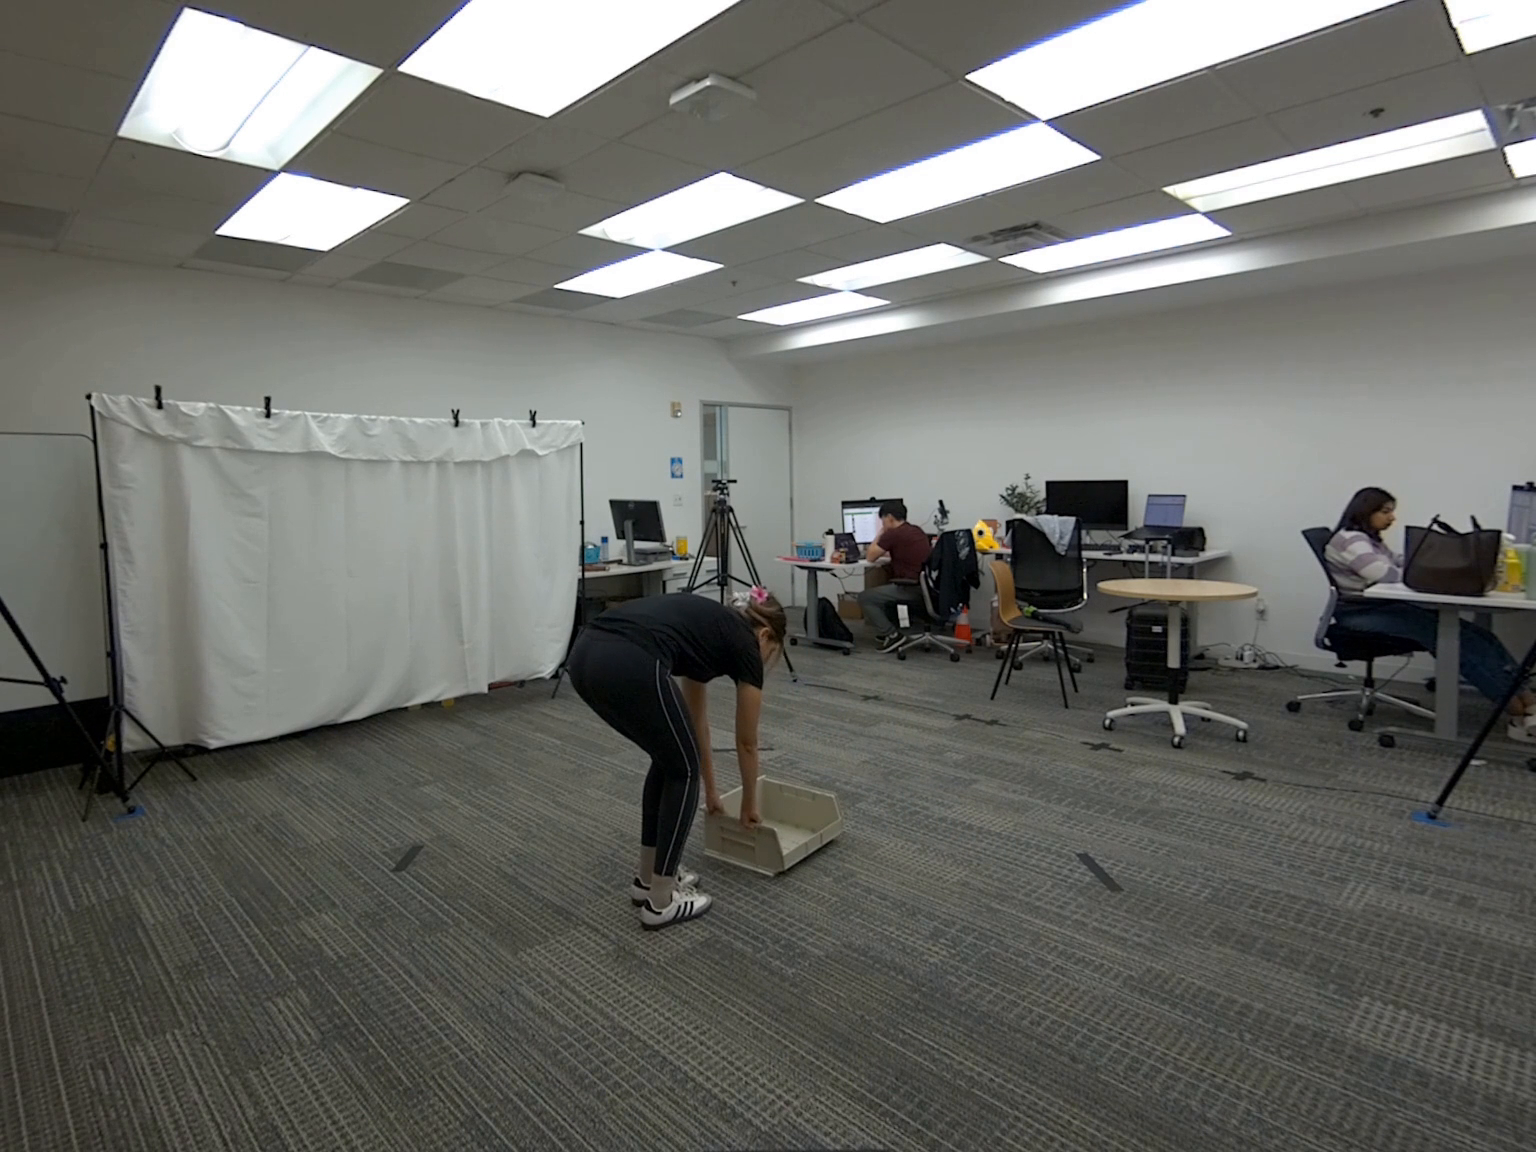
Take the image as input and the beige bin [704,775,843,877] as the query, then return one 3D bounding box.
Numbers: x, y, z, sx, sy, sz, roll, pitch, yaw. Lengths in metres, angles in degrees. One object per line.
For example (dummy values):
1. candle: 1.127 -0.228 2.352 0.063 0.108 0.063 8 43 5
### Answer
1. beige bin: 0.022 0.941 3.243 0.388 0.188 0.412 2 7 36
